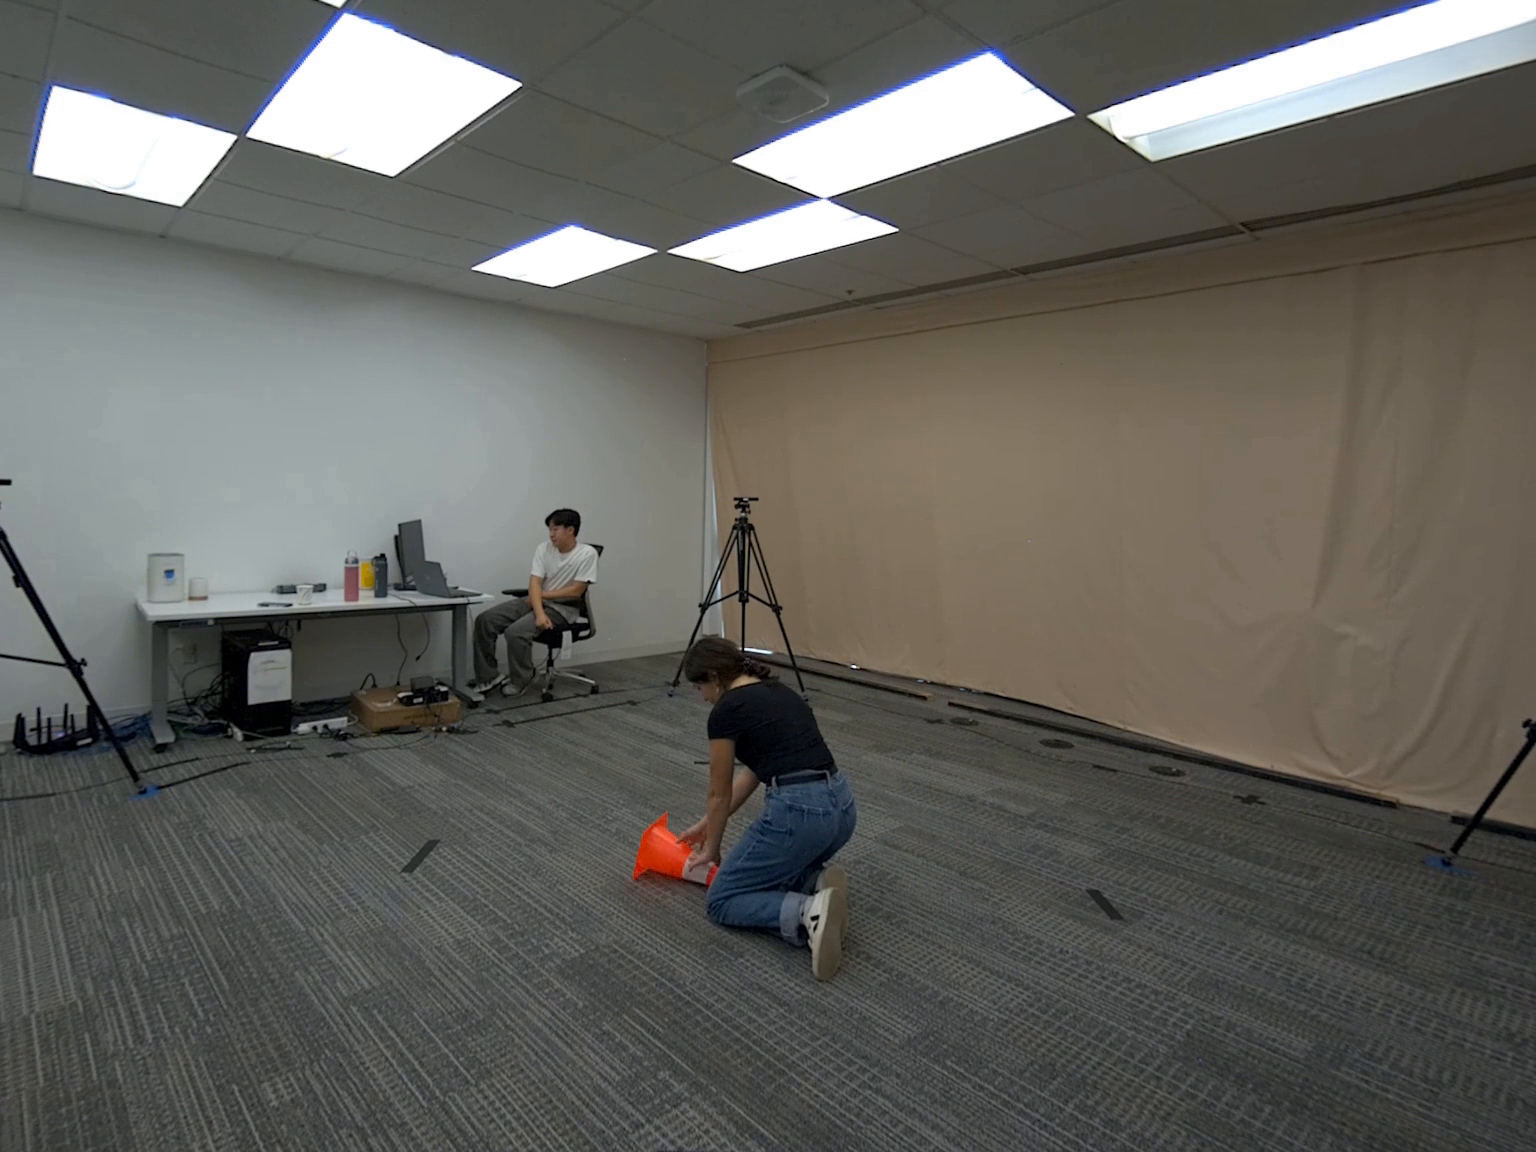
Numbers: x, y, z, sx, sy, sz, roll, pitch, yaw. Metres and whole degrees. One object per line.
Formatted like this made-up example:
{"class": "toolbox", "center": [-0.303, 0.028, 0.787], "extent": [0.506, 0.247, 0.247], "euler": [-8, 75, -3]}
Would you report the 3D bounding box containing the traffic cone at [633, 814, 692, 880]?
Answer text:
{"class": "traffic cone", "center": [-0.268, 1.054, 3.042], "extent": [0.391, 0.202, 0.202], "euler": [18, 13, 21]}
